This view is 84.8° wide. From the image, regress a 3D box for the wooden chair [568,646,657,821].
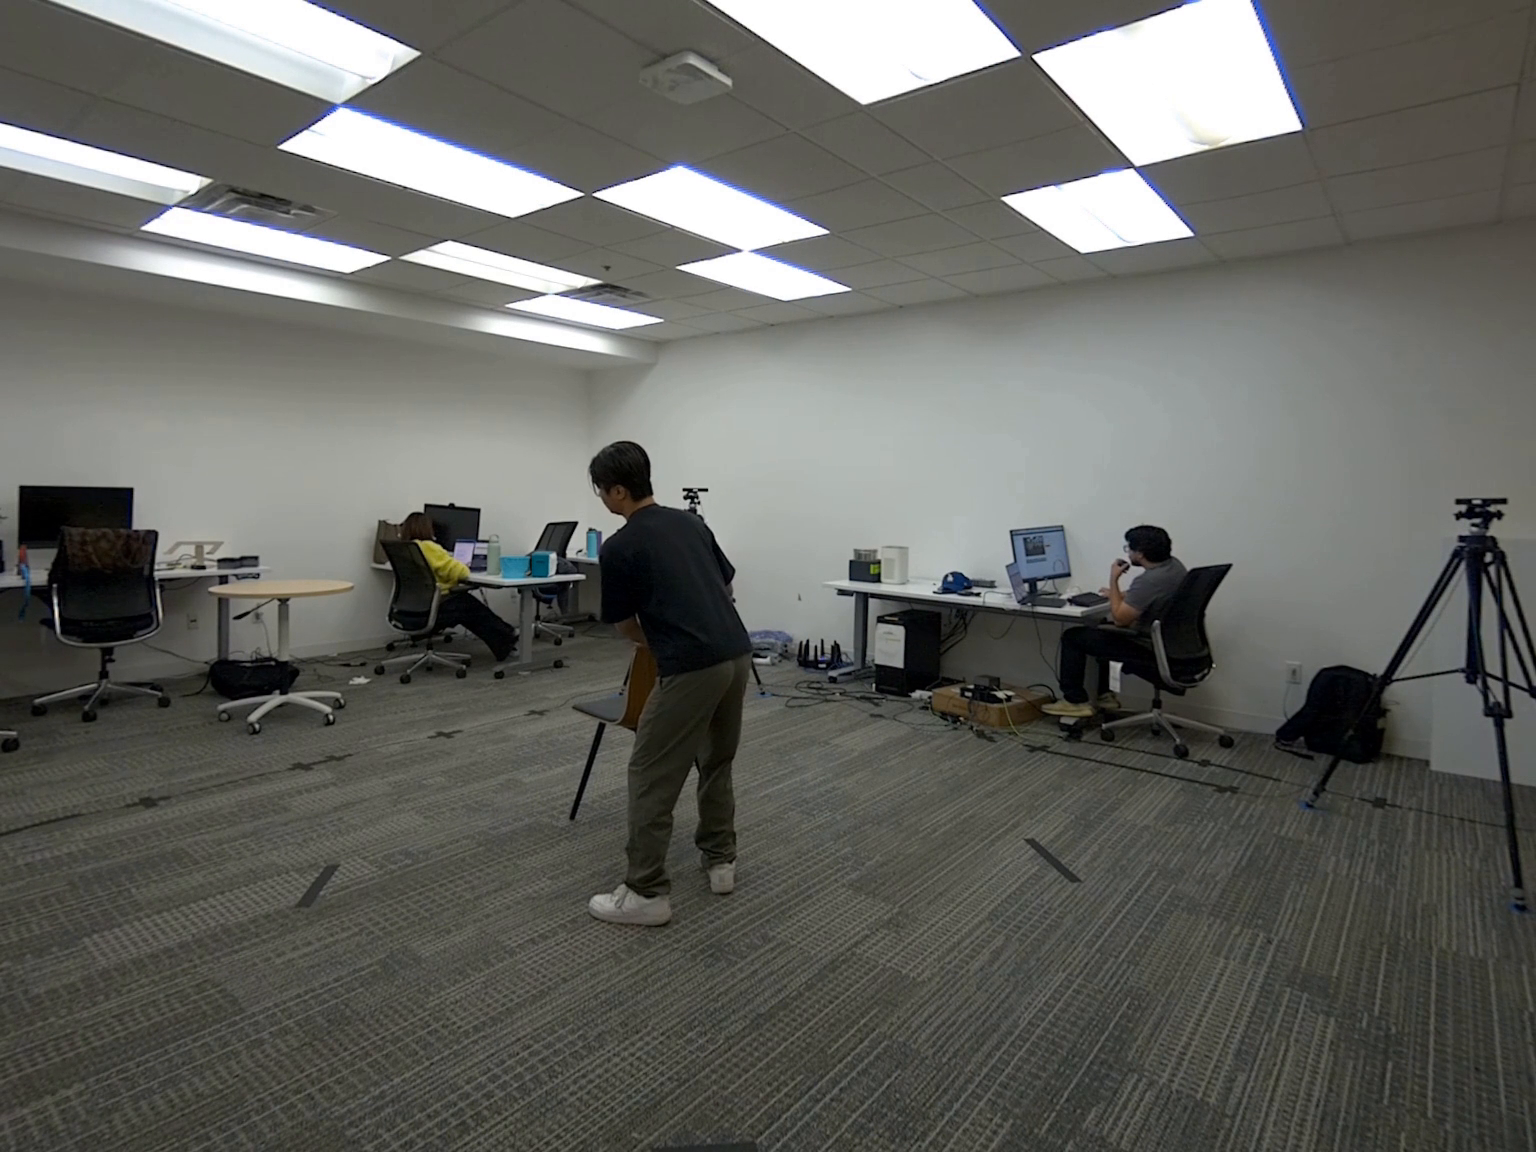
[{"bbox_3d":[-0.533,0.587,3.521,0.542,0.871,0.464,10,10,43],"label":"wooden chair"}]
